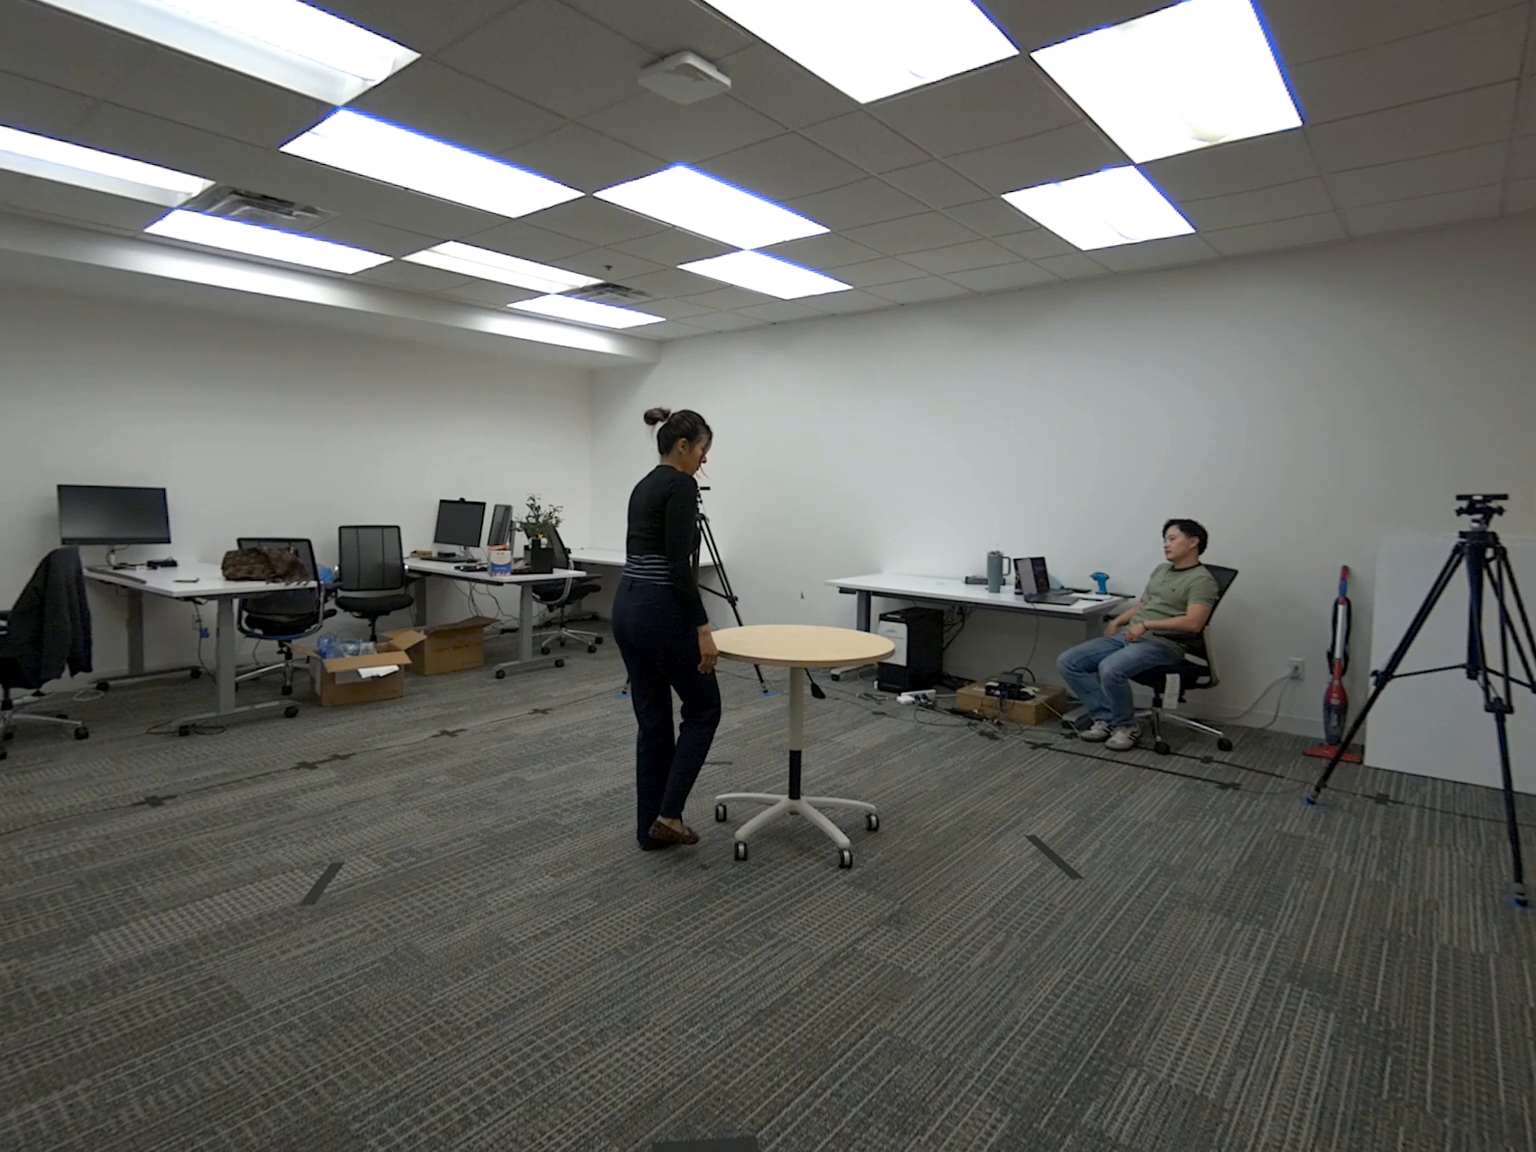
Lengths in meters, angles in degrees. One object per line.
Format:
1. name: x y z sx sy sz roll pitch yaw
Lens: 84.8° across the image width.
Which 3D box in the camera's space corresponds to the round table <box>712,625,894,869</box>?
1. round table: 0.108 0.653 3.429 0.763 0.791 0.768 1 4 -2
